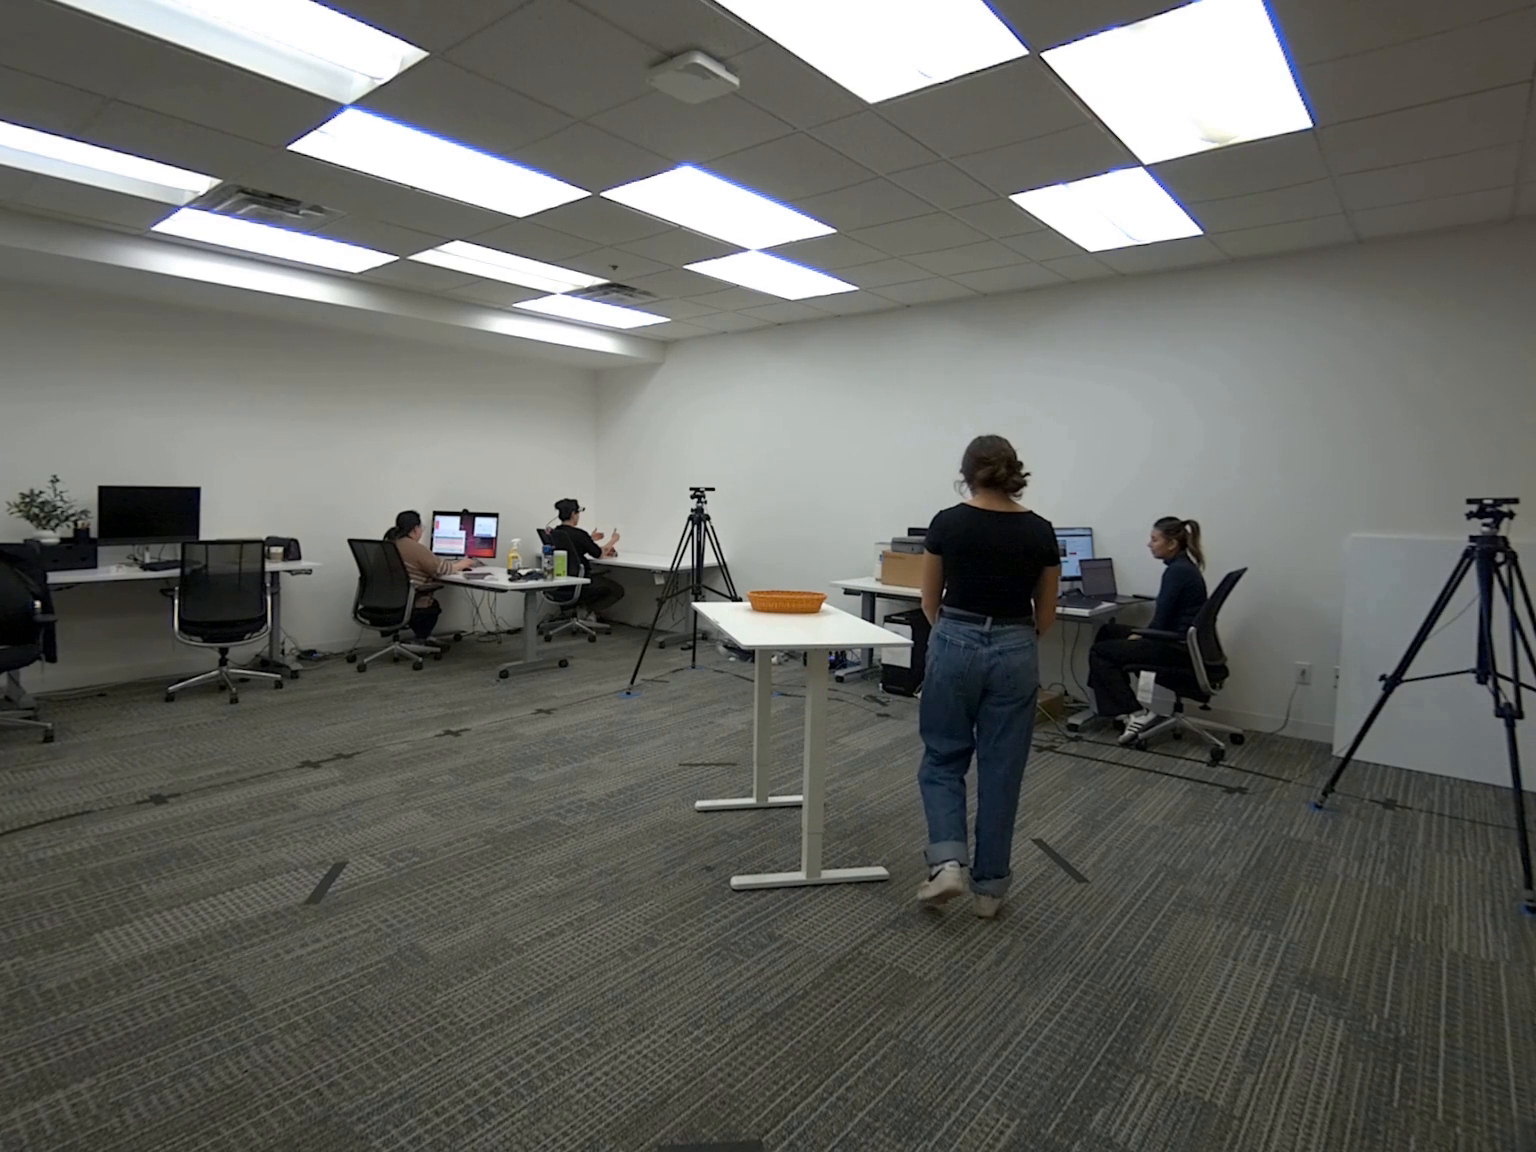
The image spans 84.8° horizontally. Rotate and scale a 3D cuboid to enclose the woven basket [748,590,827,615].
[{"bbox_3d":[0.076,0.112,3.593,0.352,0.073,0.252,2,5,4],"label":"woven basket"}]
